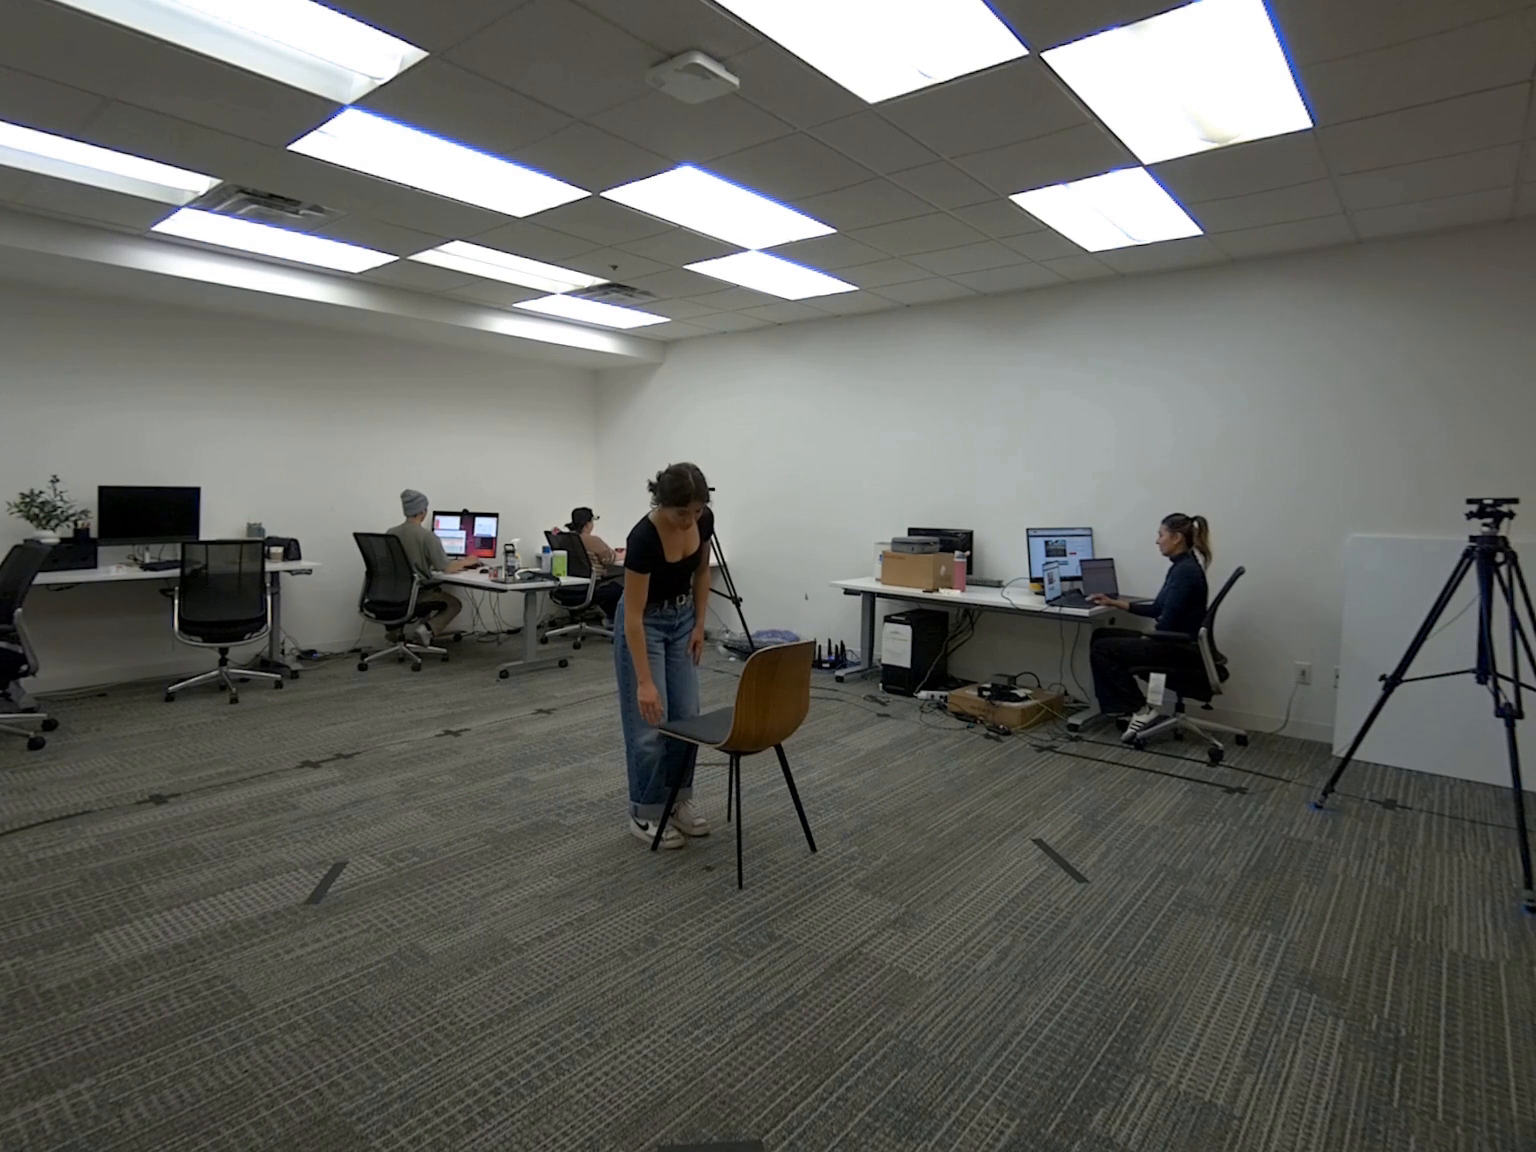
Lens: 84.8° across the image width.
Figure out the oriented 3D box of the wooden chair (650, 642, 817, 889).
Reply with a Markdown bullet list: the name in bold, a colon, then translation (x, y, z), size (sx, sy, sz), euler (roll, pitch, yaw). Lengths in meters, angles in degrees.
- **wooden chair**: translation (-0.133, 0.629, 3.237), size (0.542, 0.873, 0.464), euler (9, 8, 40)
